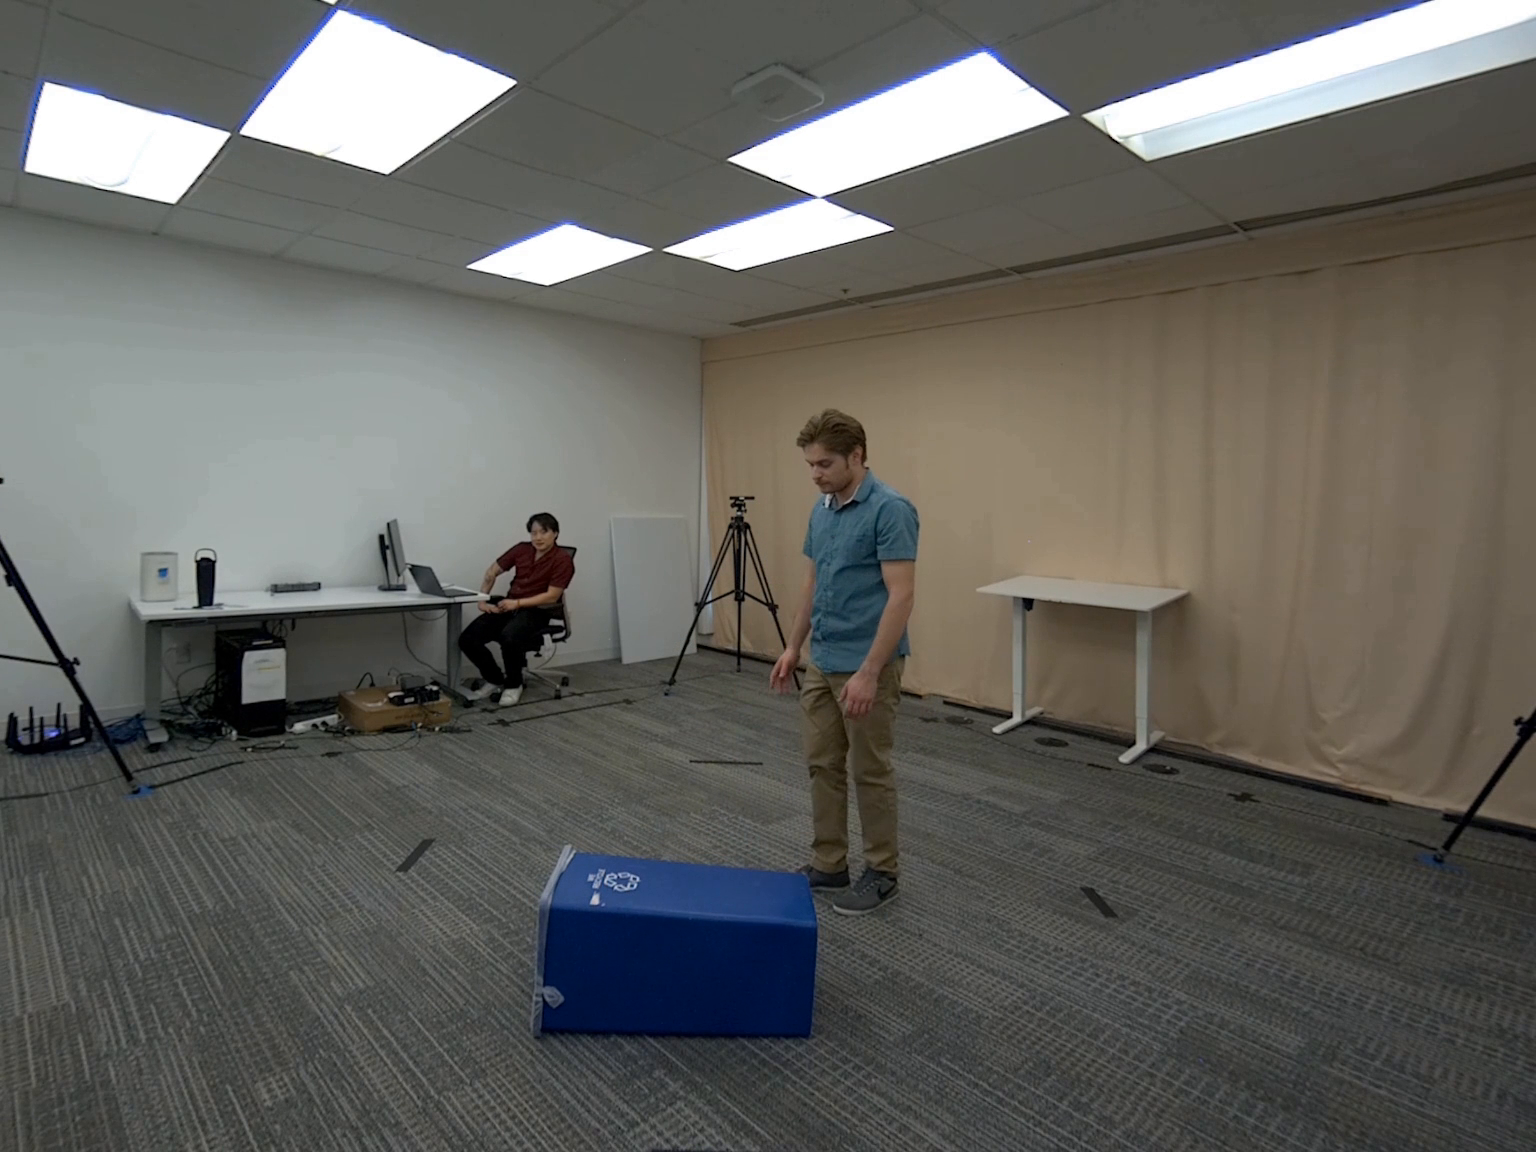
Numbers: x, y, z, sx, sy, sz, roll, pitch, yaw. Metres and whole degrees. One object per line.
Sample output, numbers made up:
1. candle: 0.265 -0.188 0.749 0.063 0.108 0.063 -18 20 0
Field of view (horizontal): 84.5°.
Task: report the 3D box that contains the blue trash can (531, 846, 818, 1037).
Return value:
1. blue trash can: -0.250 1.011 2.306 0.713 0.377 0.375 4 3 -2
